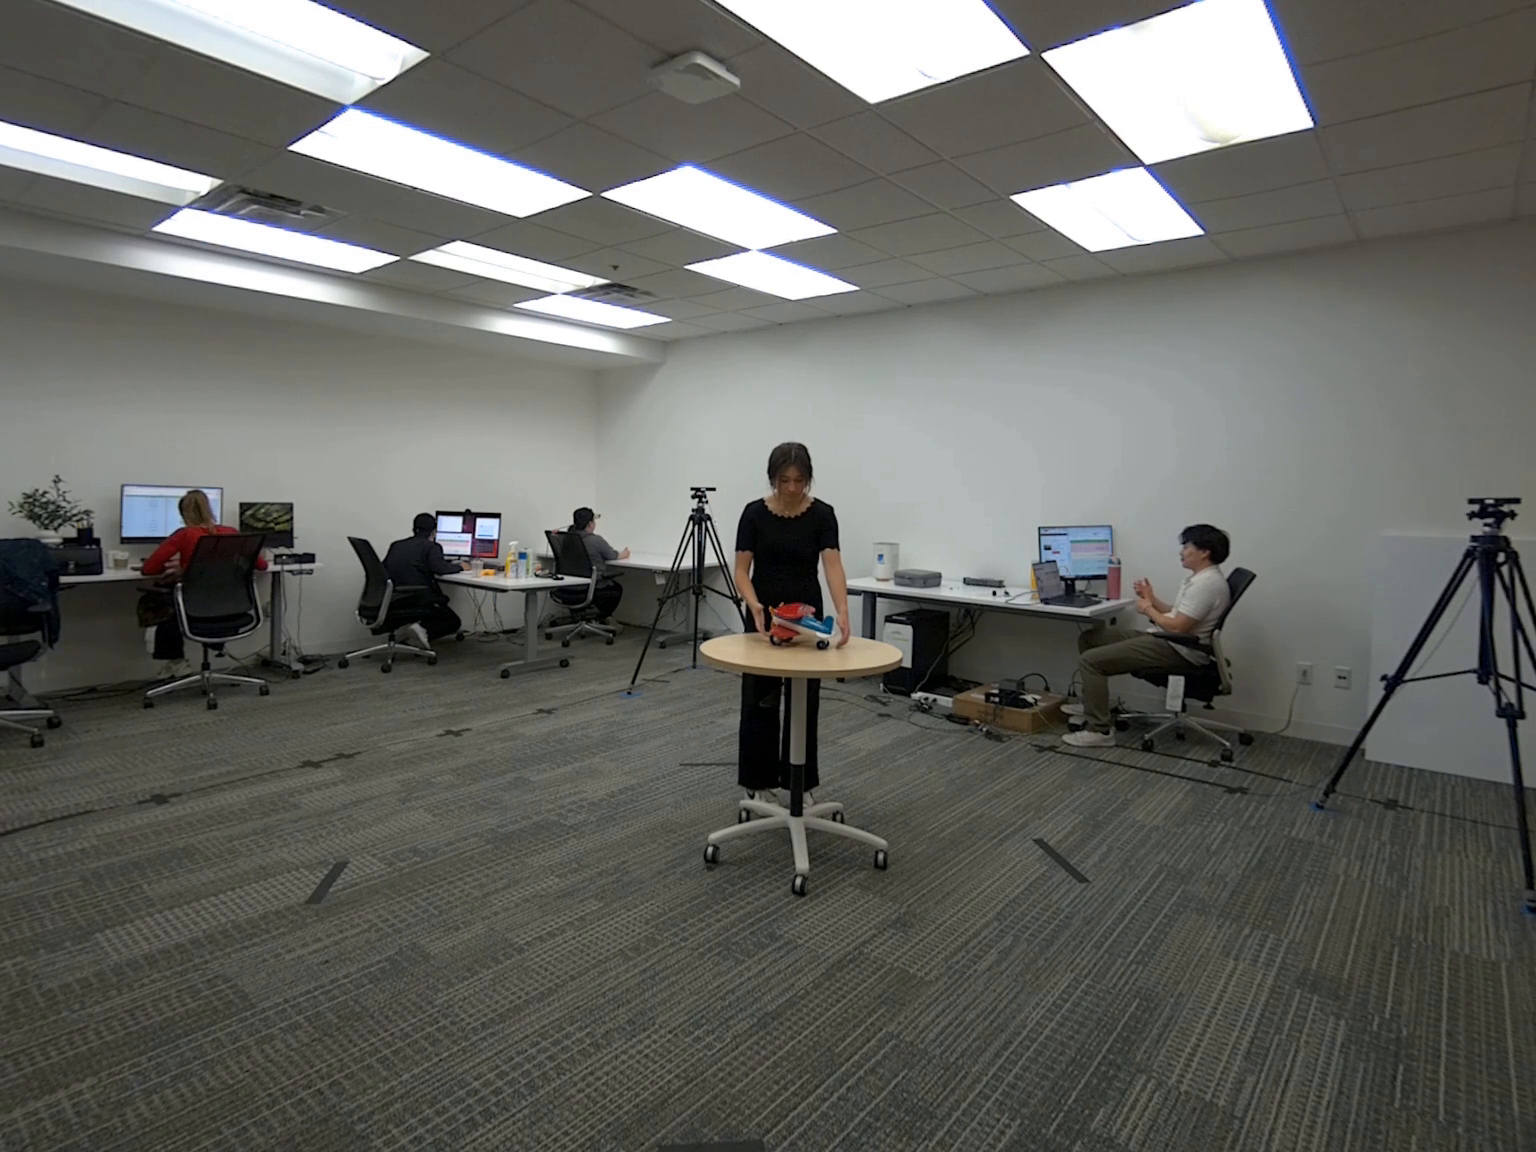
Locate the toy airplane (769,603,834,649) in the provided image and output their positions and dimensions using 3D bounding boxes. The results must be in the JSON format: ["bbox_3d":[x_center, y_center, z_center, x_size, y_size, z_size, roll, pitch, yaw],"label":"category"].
[{"bbox_3d":[0.131,0.189,3.324,0.259,0.156,0.252,0,6,0],"label":"toy airplane"}]
